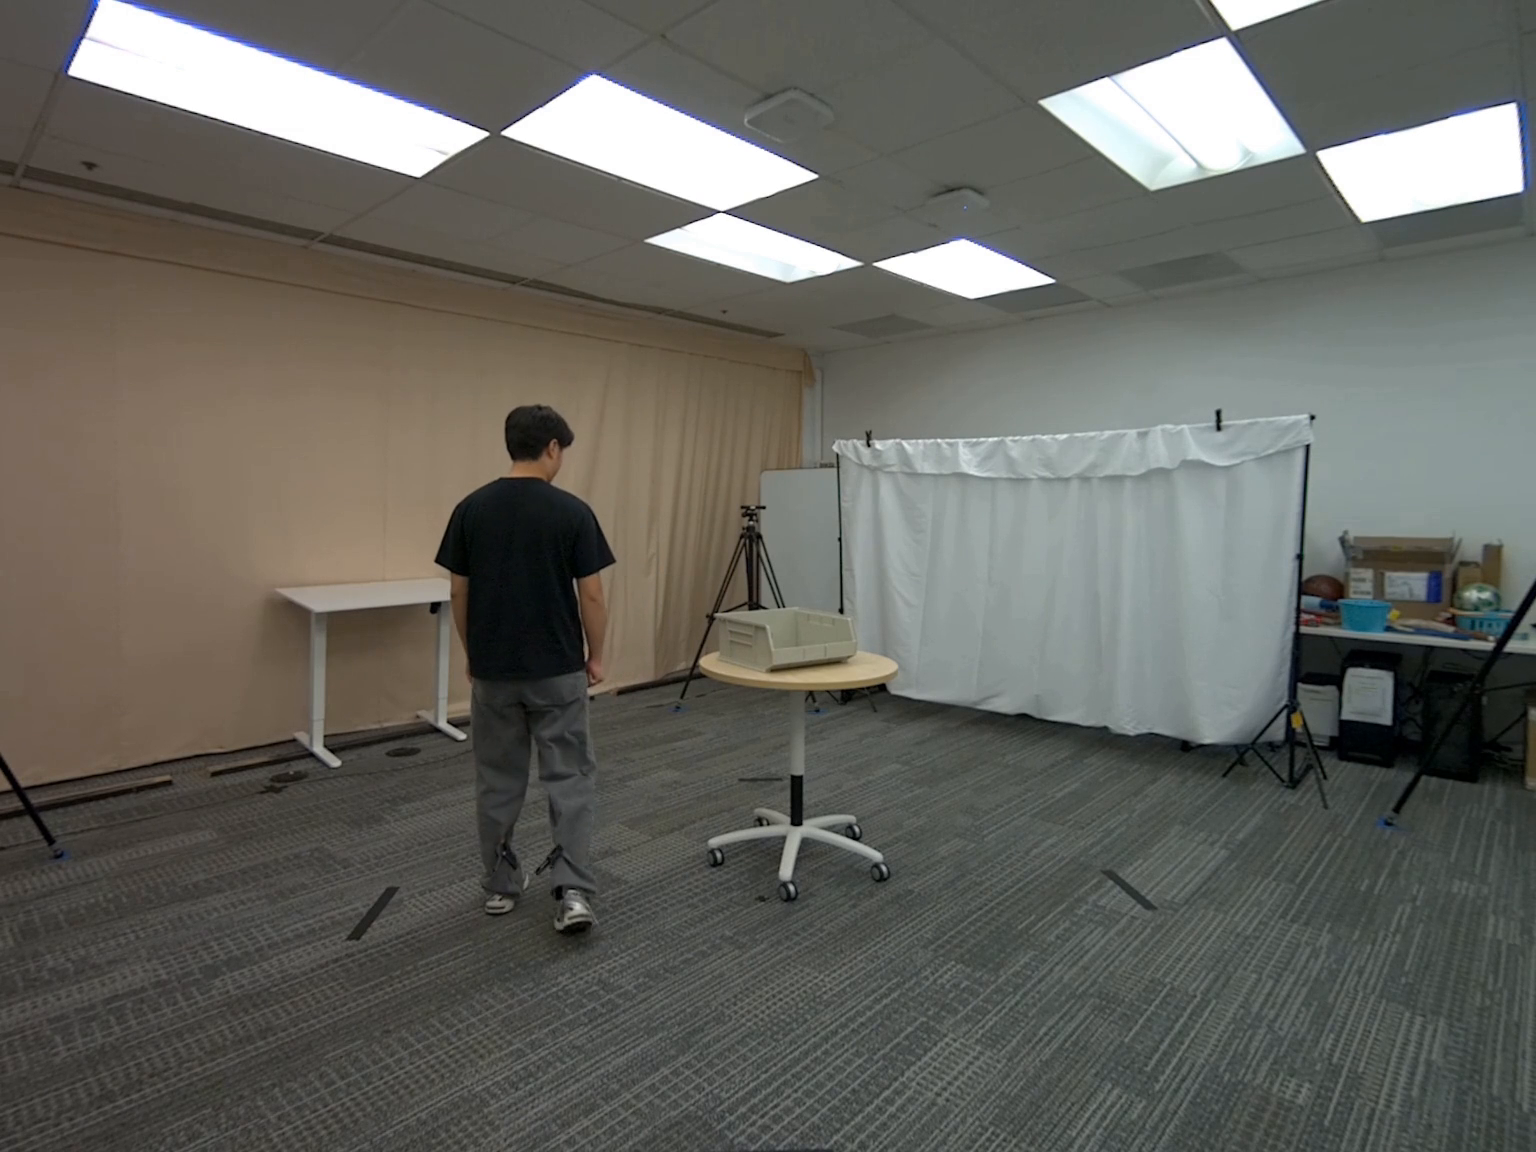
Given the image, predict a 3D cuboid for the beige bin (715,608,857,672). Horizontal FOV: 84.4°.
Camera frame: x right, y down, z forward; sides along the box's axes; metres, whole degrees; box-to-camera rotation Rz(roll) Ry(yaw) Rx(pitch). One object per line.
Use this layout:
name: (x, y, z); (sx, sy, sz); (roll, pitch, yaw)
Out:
beige bin: (0.073, 0.247, 3.281); (0.410, 0.188, 0.389); (-4, 5, -35)
